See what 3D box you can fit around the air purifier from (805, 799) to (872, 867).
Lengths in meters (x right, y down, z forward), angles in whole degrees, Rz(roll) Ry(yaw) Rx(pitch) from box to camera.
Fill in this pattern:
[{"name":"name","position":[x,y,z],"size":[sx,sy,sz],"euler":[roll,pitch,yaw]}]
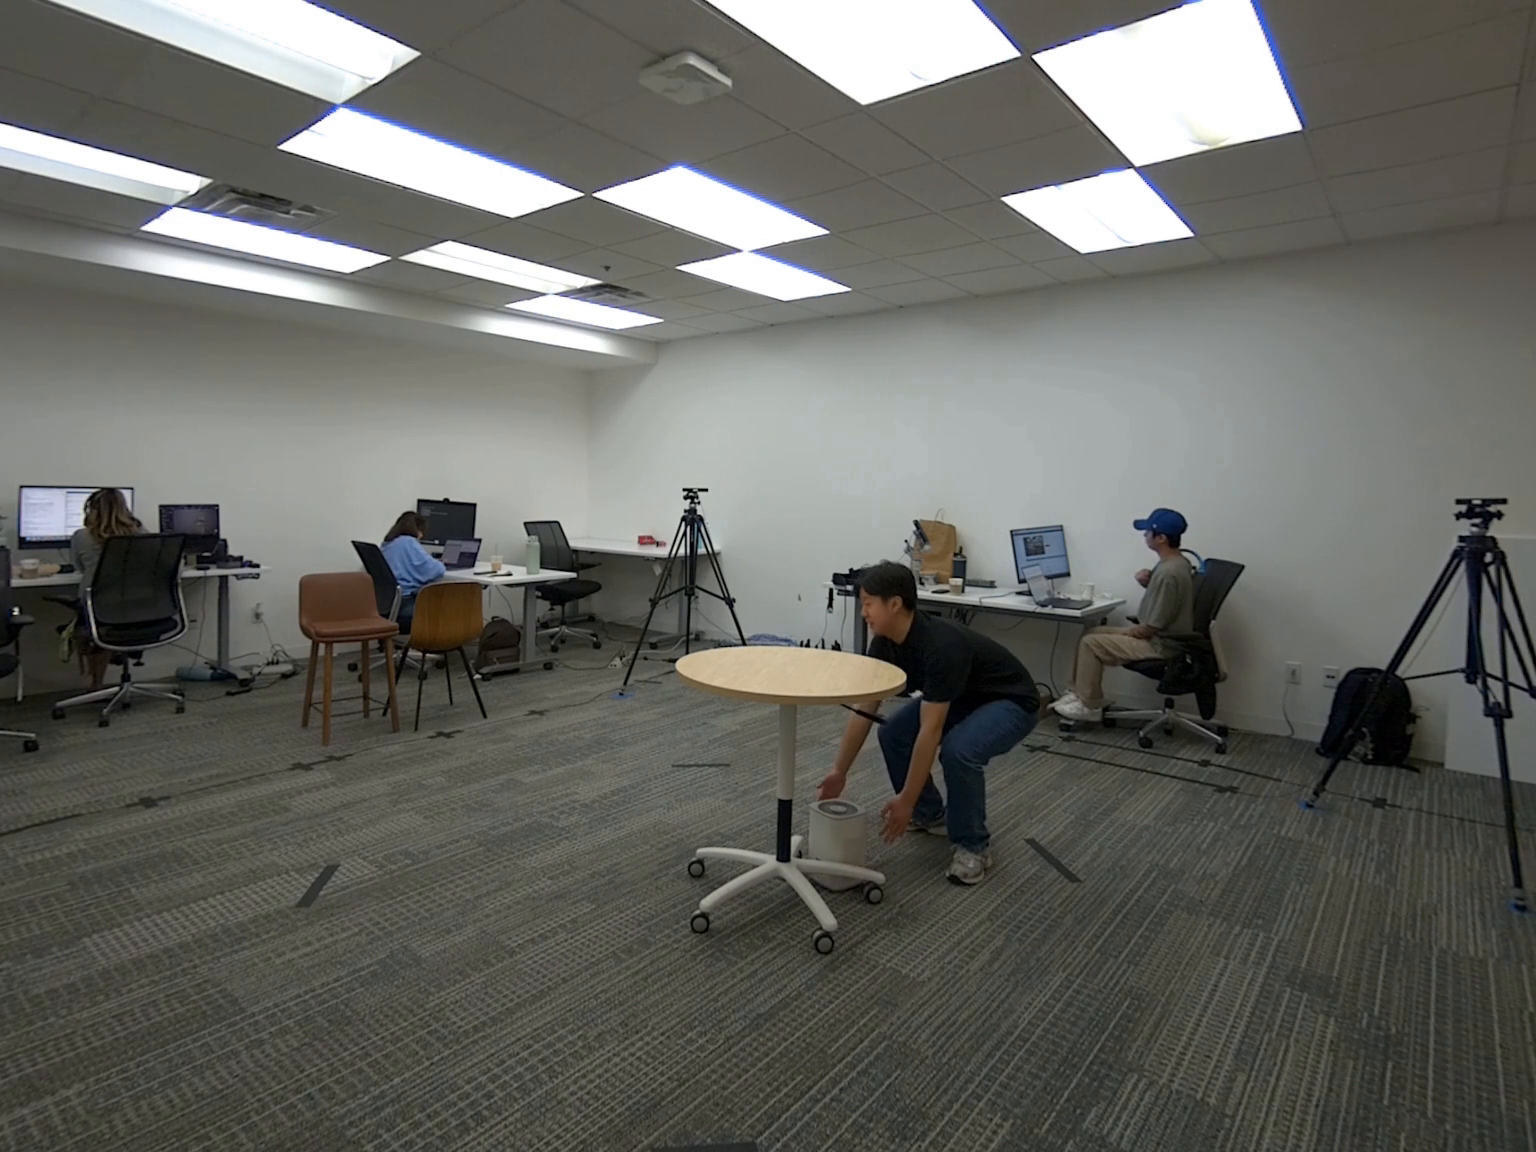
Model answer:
[{"name":"air purifier","position":[0.243,0.956,3.039],"size":[0.167,0.264,0.177],"euler":[-3,6,-37]}]
